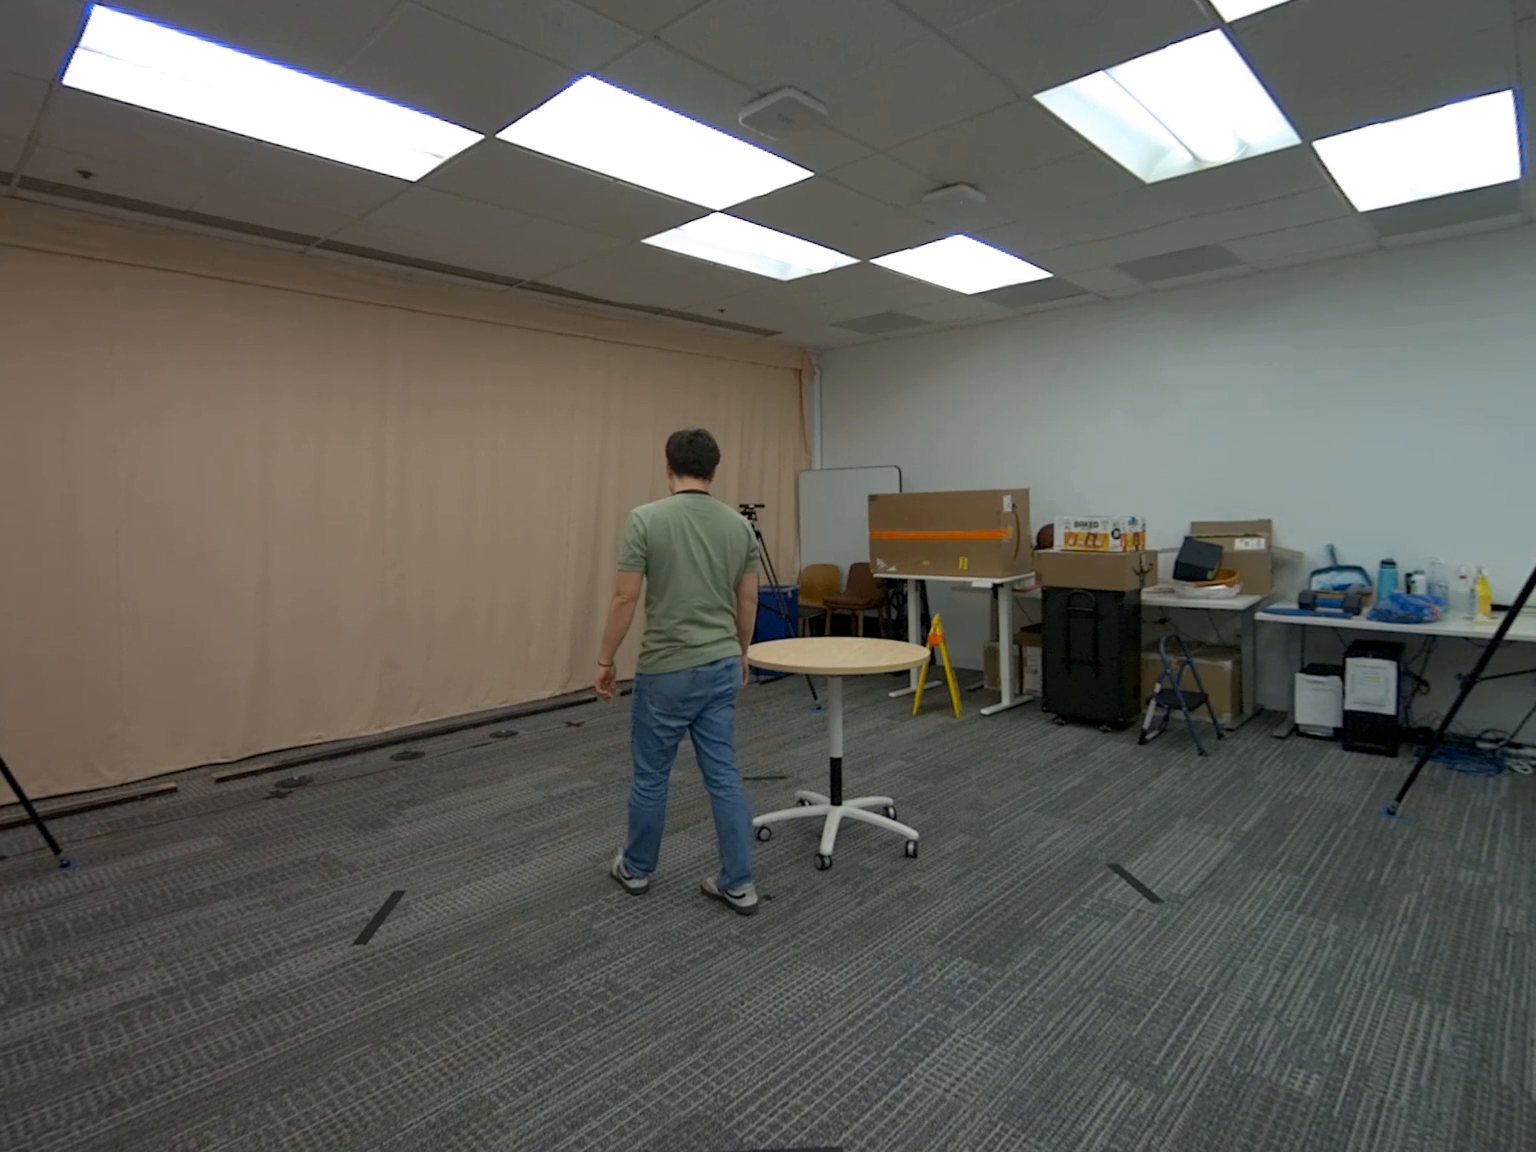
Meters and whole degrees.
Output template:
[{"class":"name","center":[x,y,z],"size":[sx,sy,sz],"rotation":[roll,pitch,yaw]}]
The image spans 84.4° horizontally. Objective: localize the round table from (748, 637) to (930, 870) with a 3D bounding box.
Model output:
[{"class":"round table","center":[0.281,0.702,3.487],"size":[0.763,0.792,0.766],"rotation":[-1,3,-2]}]
